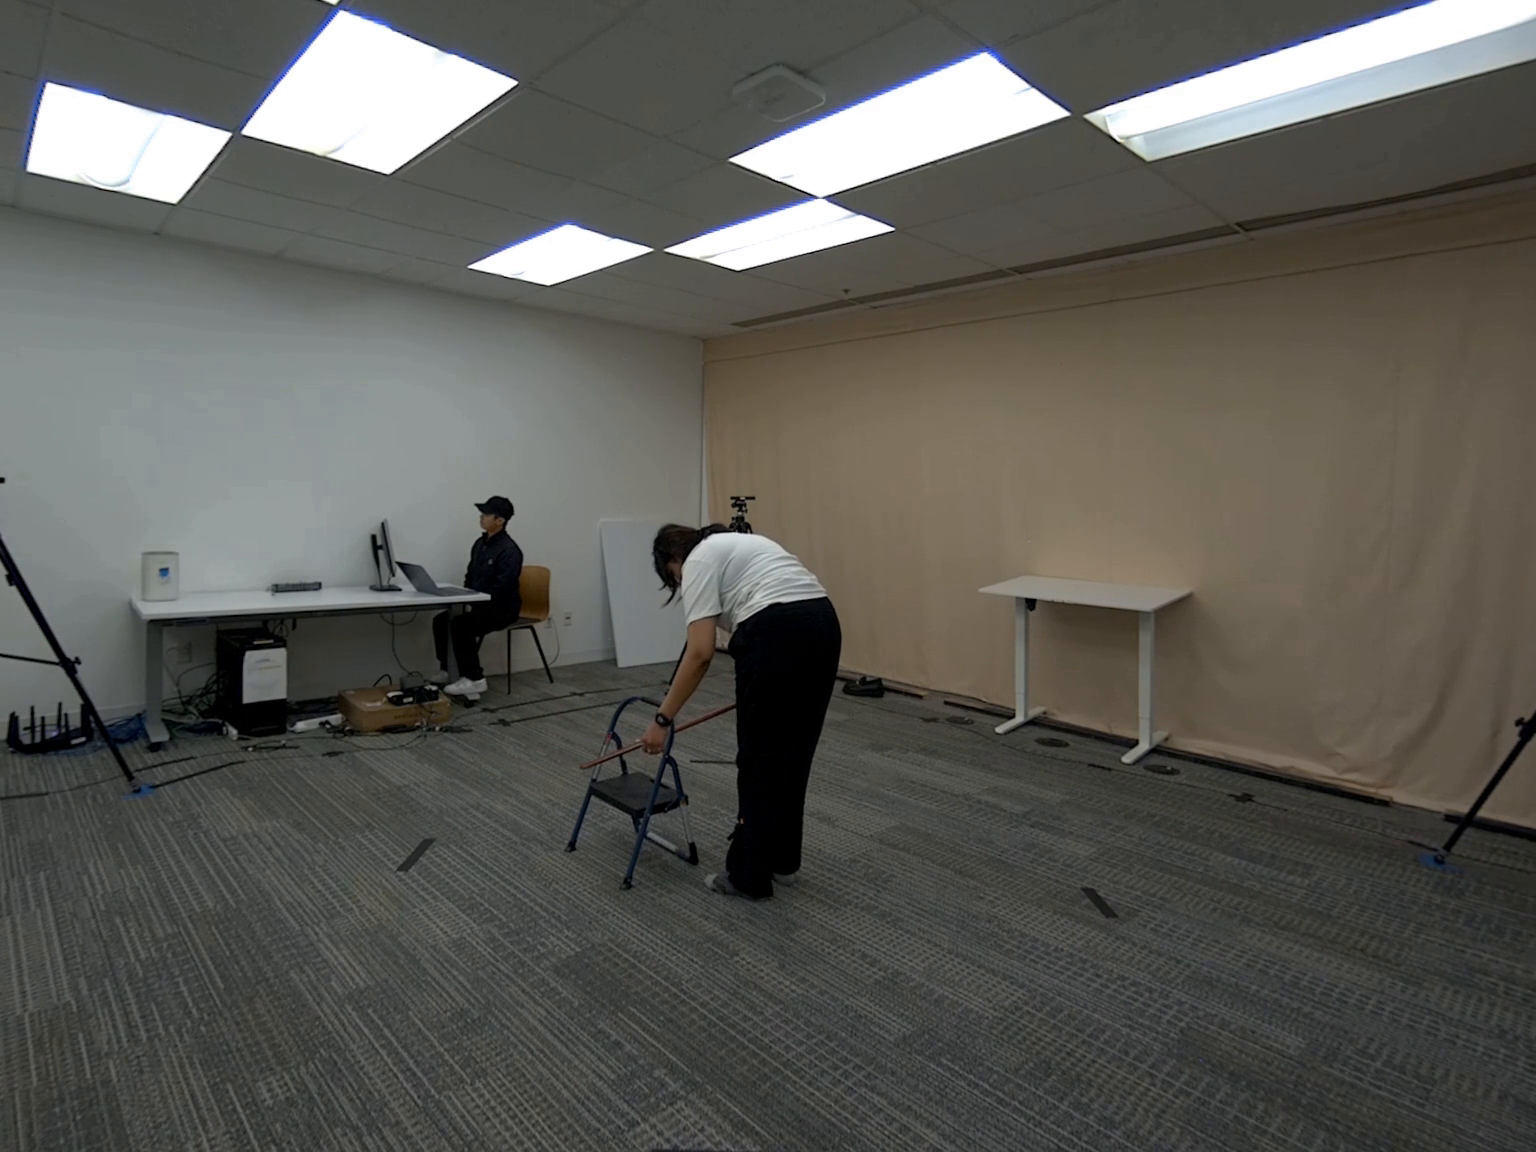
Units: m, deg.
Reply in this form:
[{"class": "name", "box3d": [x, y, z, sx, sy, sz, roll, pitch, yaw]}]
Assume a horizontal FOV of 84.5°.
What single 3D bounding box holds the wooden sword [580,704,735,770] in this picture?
[{"class": "wooden sword", "box3d": [-0.265, 0.565, 3.328, 1.020, 0.023, 0.052, -19, 25, -9]}]
